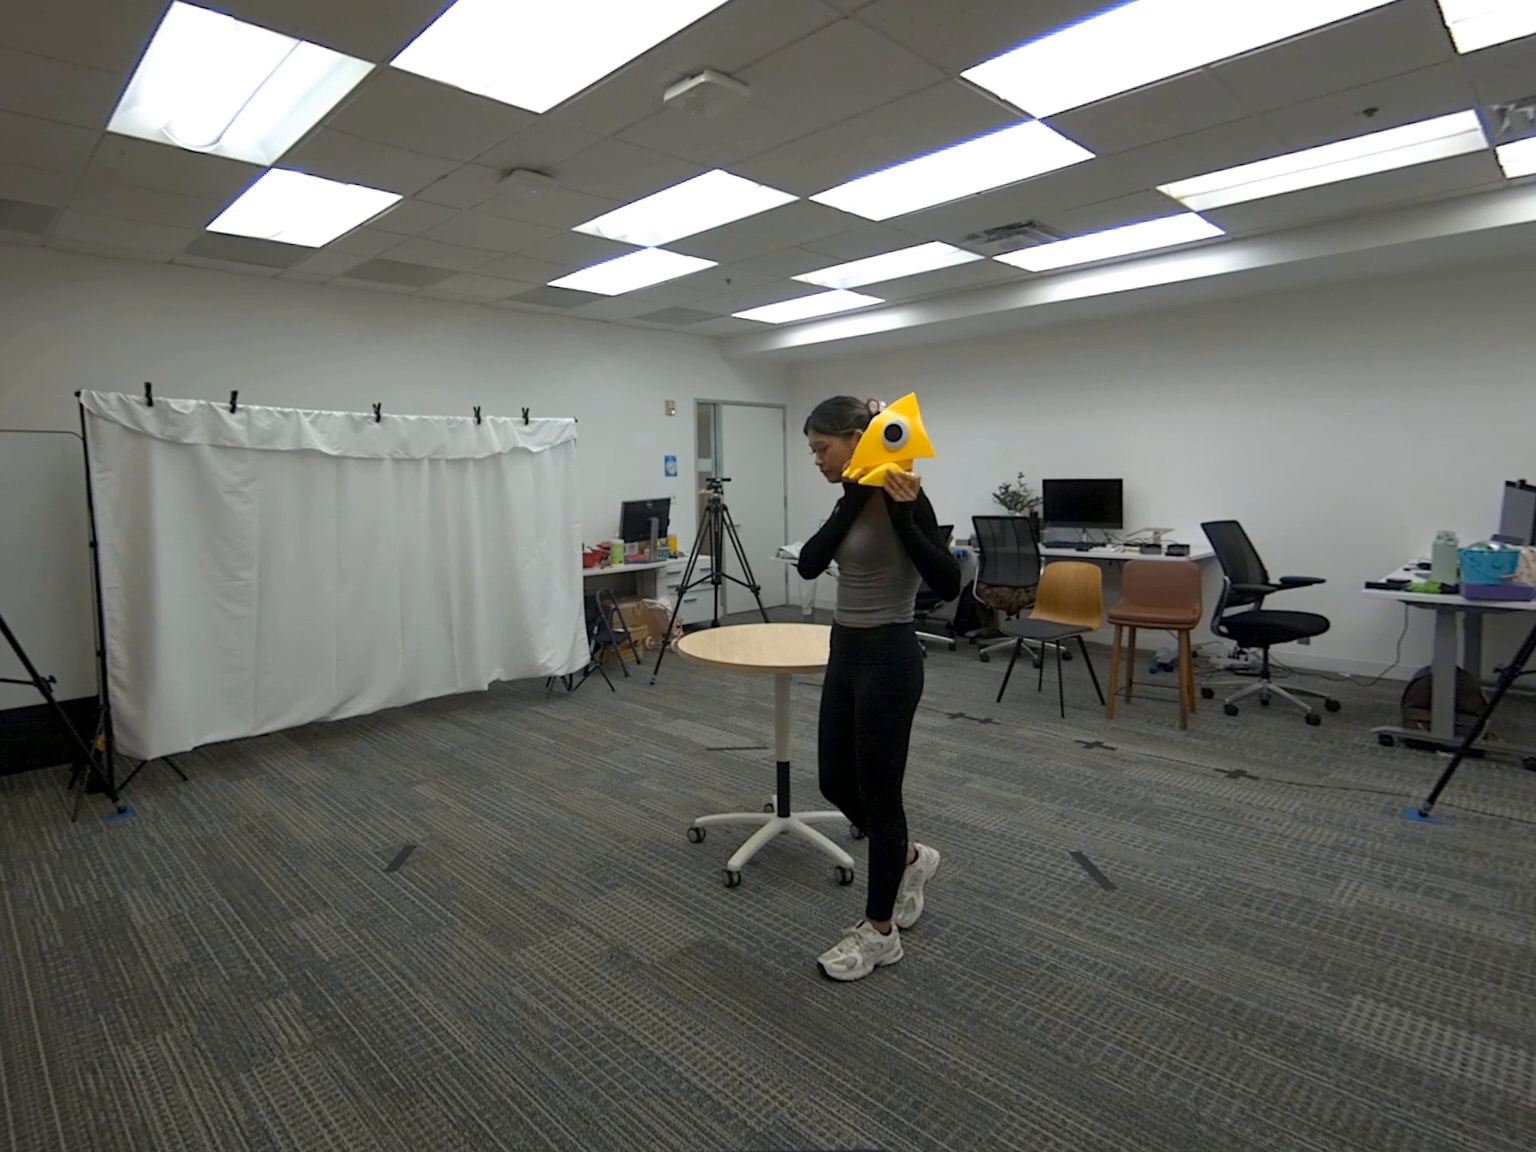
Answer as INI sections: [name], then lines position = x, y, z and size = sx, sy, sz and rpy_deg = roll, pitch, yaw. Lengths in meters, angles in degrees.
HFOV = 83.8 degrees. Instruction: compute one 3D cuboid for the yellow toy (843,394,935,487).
[yellow toy]
position = 0.314, -0.359, 2.197
size = 0.190, 0.228, 0.210
rpy_deg = 1, 13, -15
